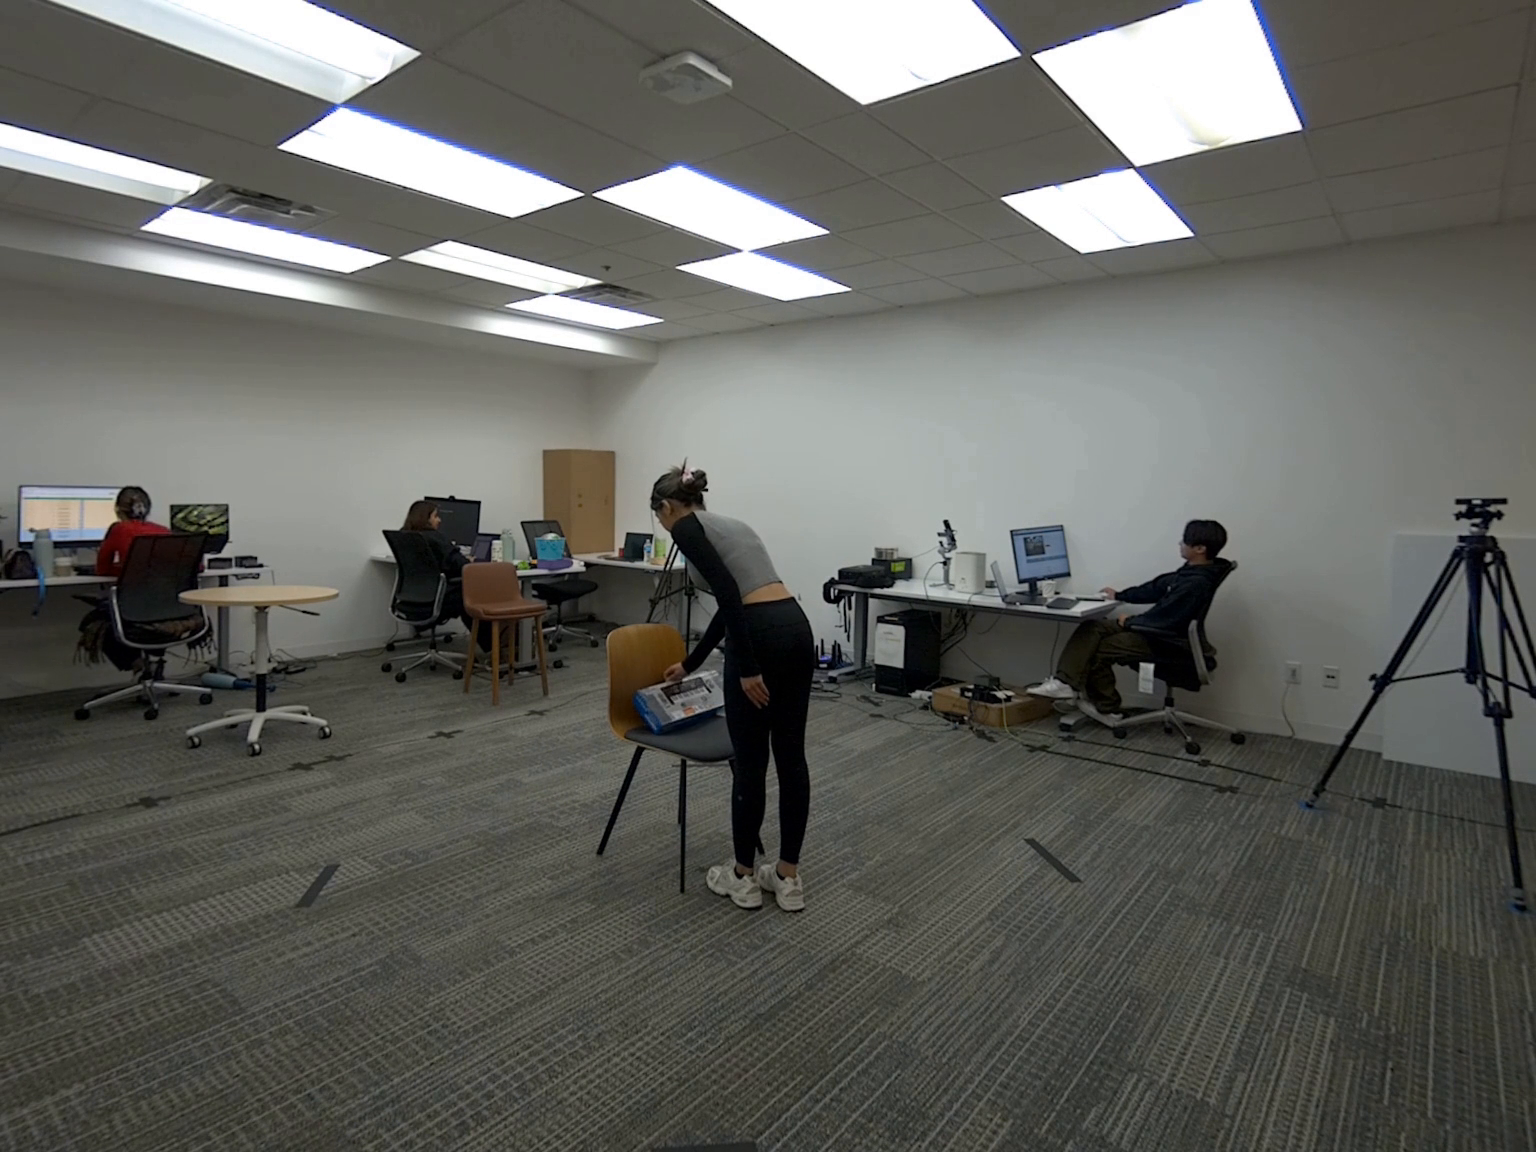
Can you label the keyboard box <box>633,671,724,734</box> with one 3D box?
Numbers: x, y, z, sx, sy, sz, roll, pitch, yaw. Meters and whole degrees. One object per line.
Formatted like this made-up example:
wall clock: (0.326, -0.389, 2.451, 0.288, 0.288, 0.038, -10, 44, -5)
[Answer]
keyboard box: (-0.328, 0.490, 3.338, 0.425, 0.058, 0.182, -10, 48, -47)
